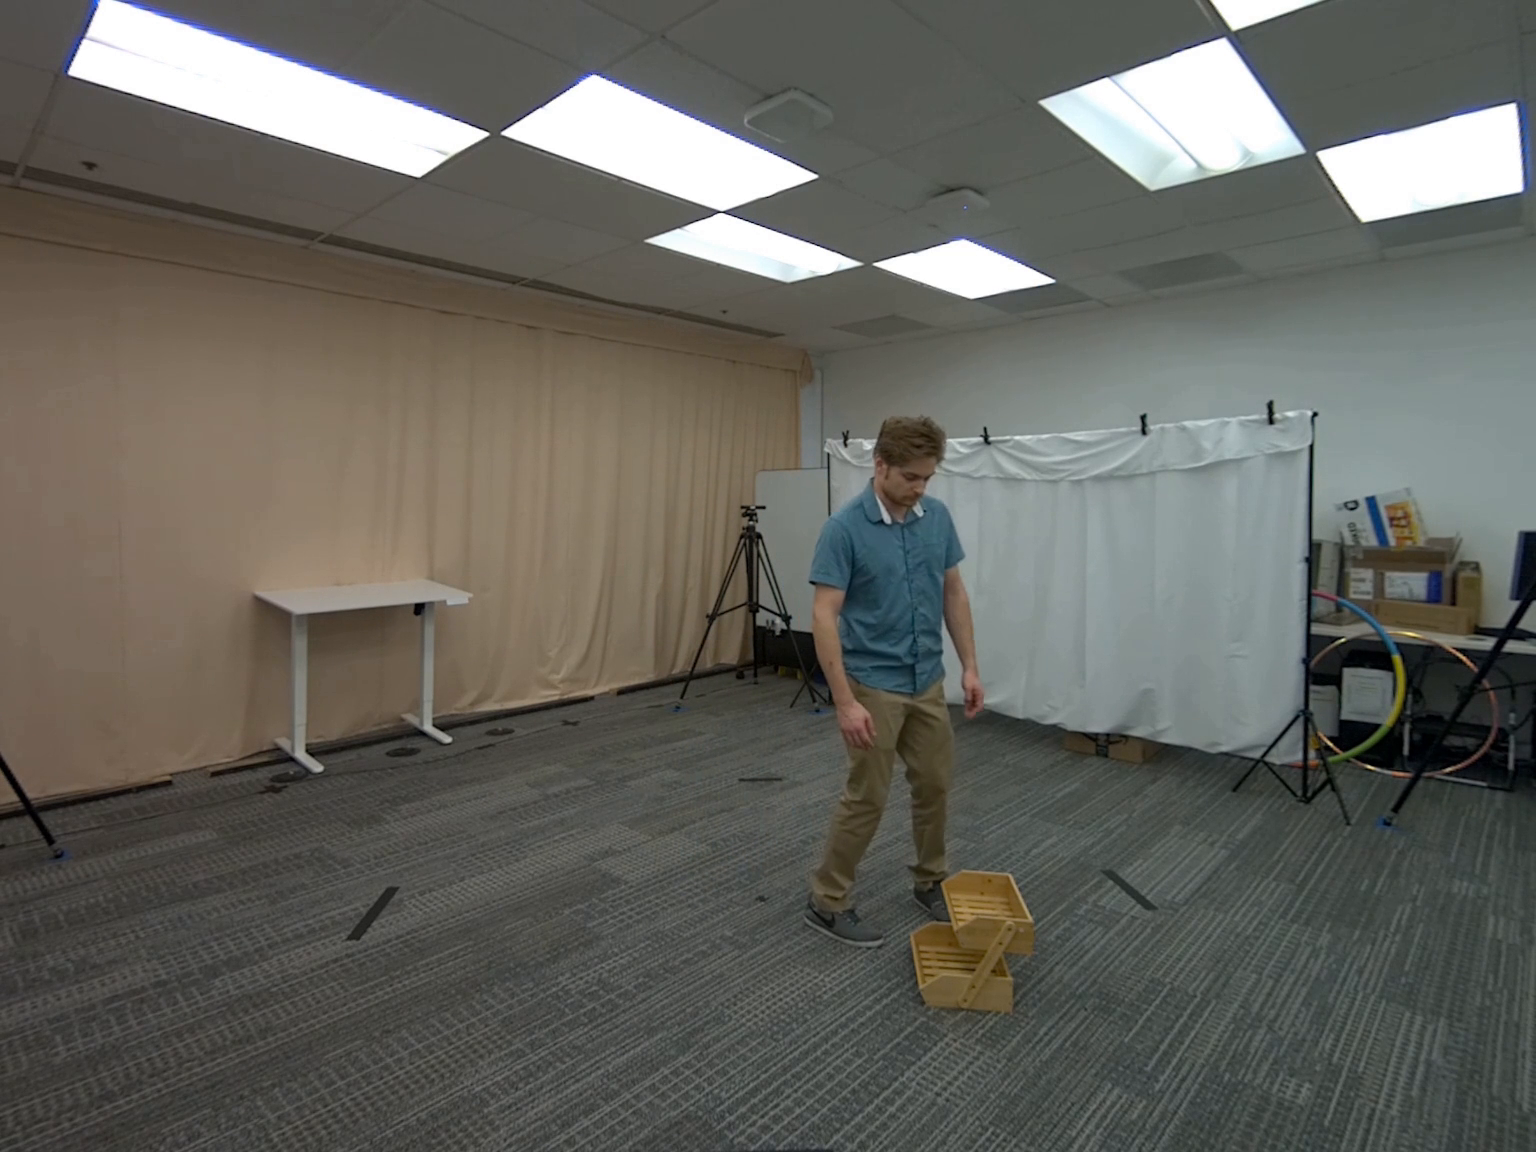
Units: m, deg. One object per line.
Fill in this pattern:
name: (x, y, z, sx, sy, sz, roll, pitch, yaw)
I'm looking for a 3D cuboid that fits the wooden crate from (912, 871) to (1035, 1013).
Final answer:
wooden crate: (0.583, 1.049, 2.465, 0.304, 0.272, 0.323, 1, 5, 5)
